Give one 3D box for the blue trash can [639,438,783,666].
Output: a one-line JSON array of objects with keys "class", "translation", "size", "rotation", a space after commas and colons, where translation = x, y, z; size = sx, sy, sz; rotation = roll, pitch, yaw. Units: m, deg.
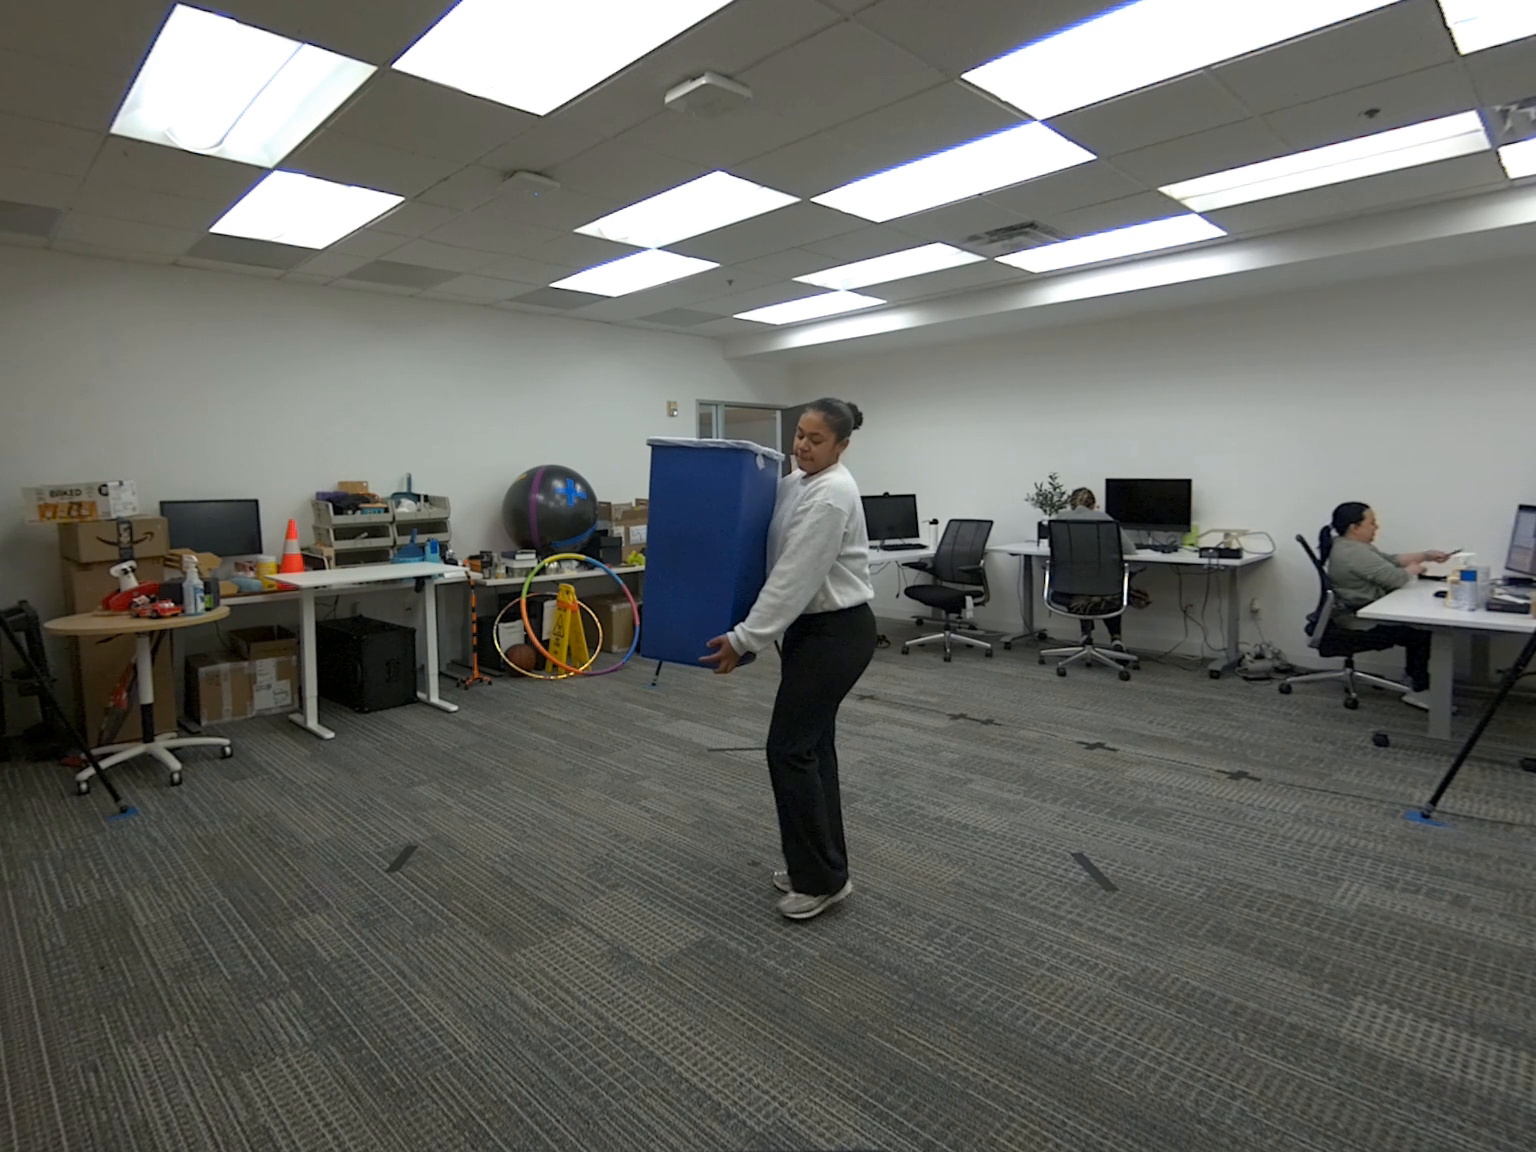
[{"class": "blue trash can", "translation": [-0.193, -0.080, 2.857], "size": [0.386, 0.713, 0.366], "rotation": [6, 1, 21]}]
